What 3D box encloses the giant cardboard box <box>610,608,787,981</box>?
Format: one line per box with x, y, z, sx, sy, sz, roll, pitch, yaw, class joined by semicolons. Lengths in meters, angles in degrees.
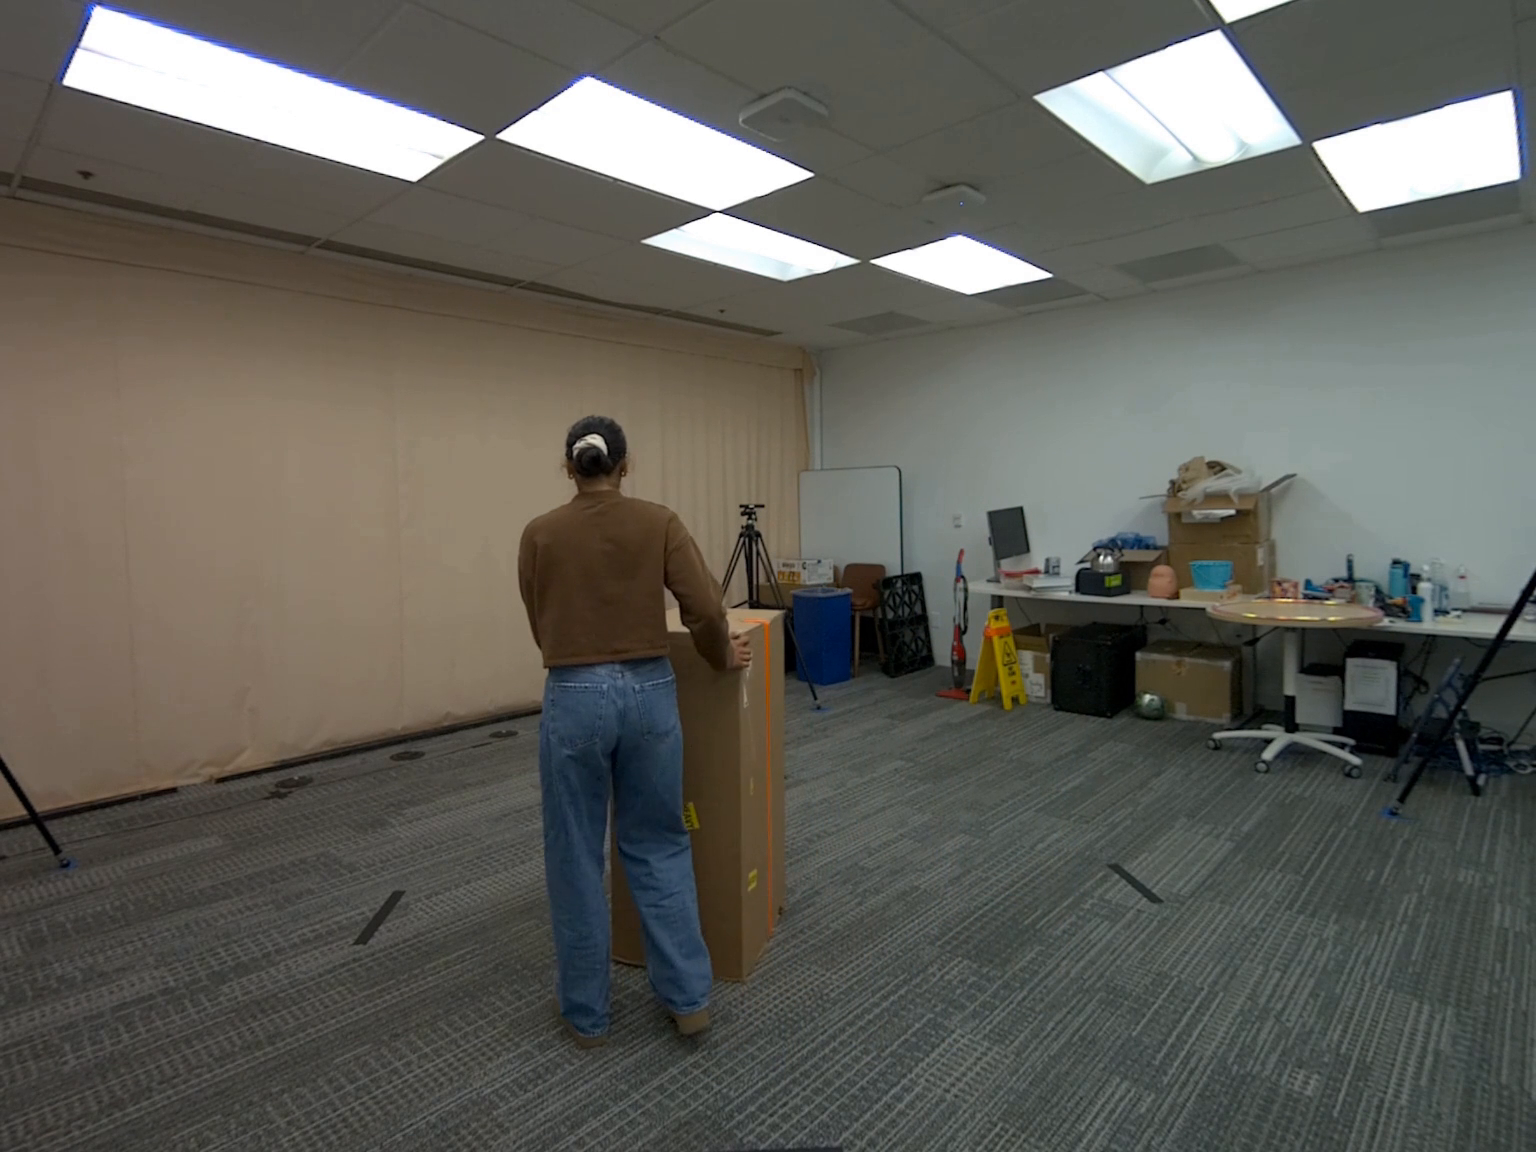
-0.202;0.652;2.765;0.434;1.024;0.568;0;3;17;giant cardboard box
